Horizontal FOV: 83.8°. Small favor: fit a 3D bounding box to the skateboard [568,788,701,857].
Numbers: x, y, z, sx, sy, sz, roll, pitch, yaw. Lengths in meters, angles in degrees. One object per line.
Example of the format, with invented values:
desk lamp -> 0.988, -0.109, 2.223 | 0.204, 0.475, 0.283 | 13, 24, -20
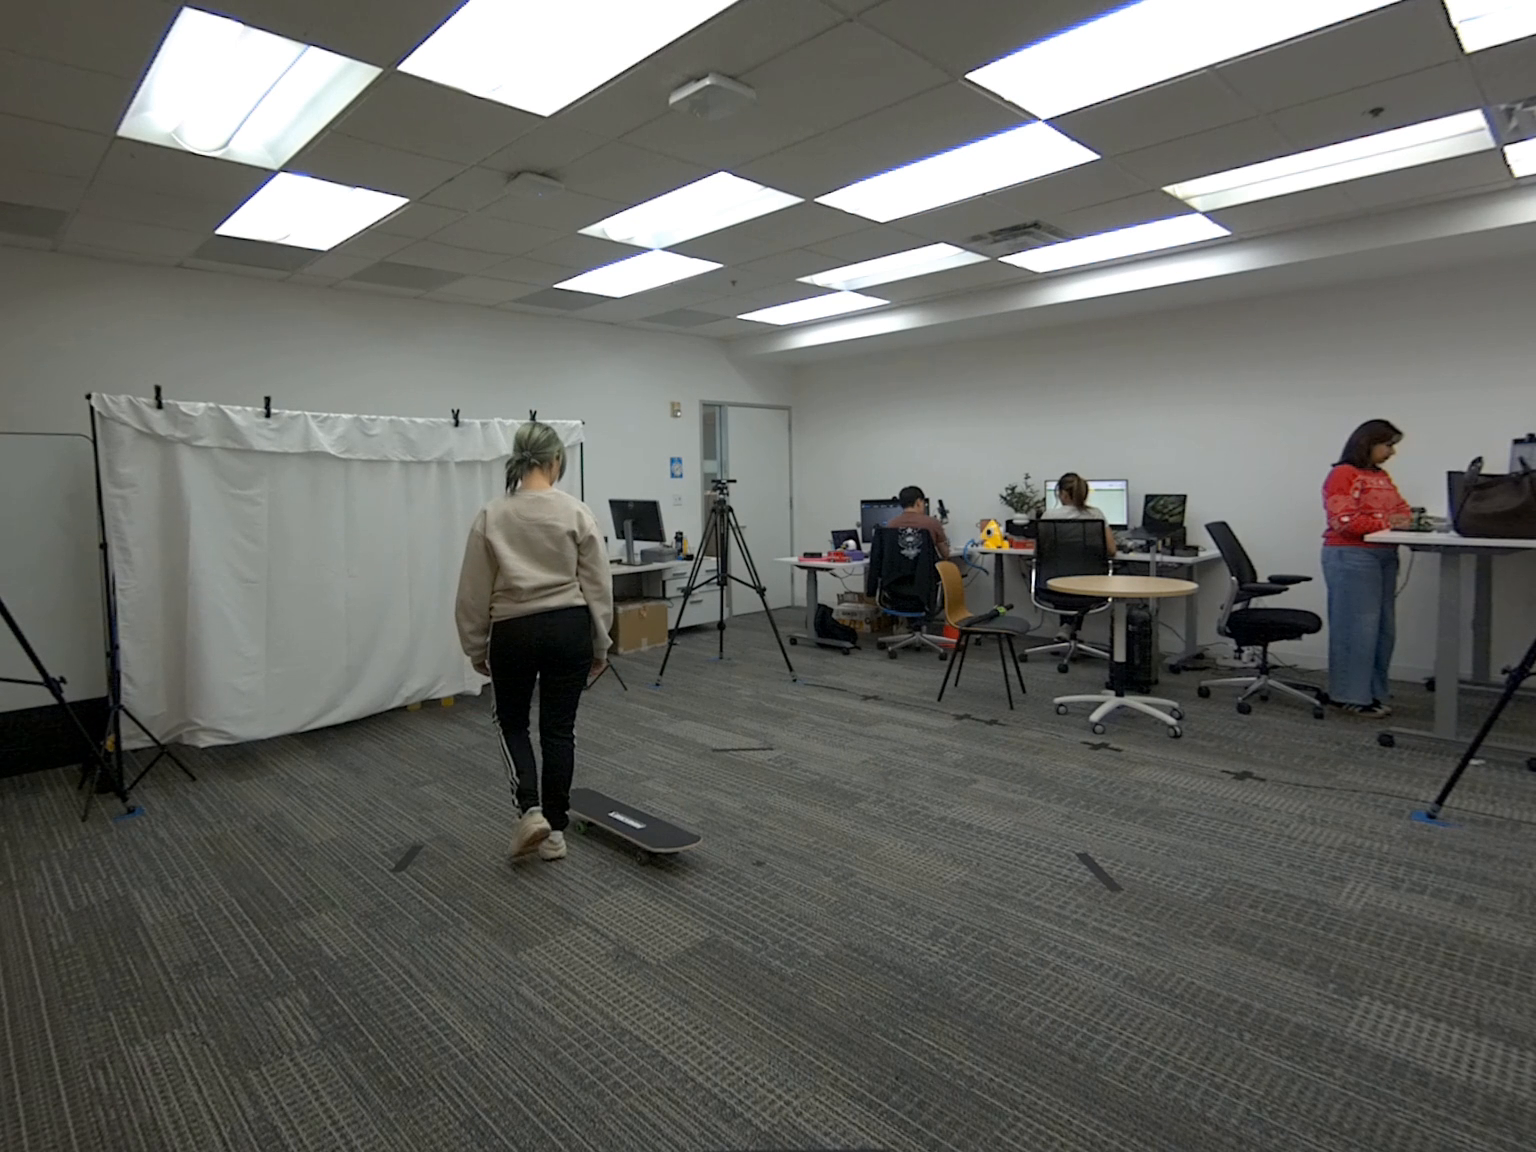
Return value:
skateboard -> -0.547, 0.981, 3.312 | 0.188, 0.110, 0.810 | -5, 7, -44
